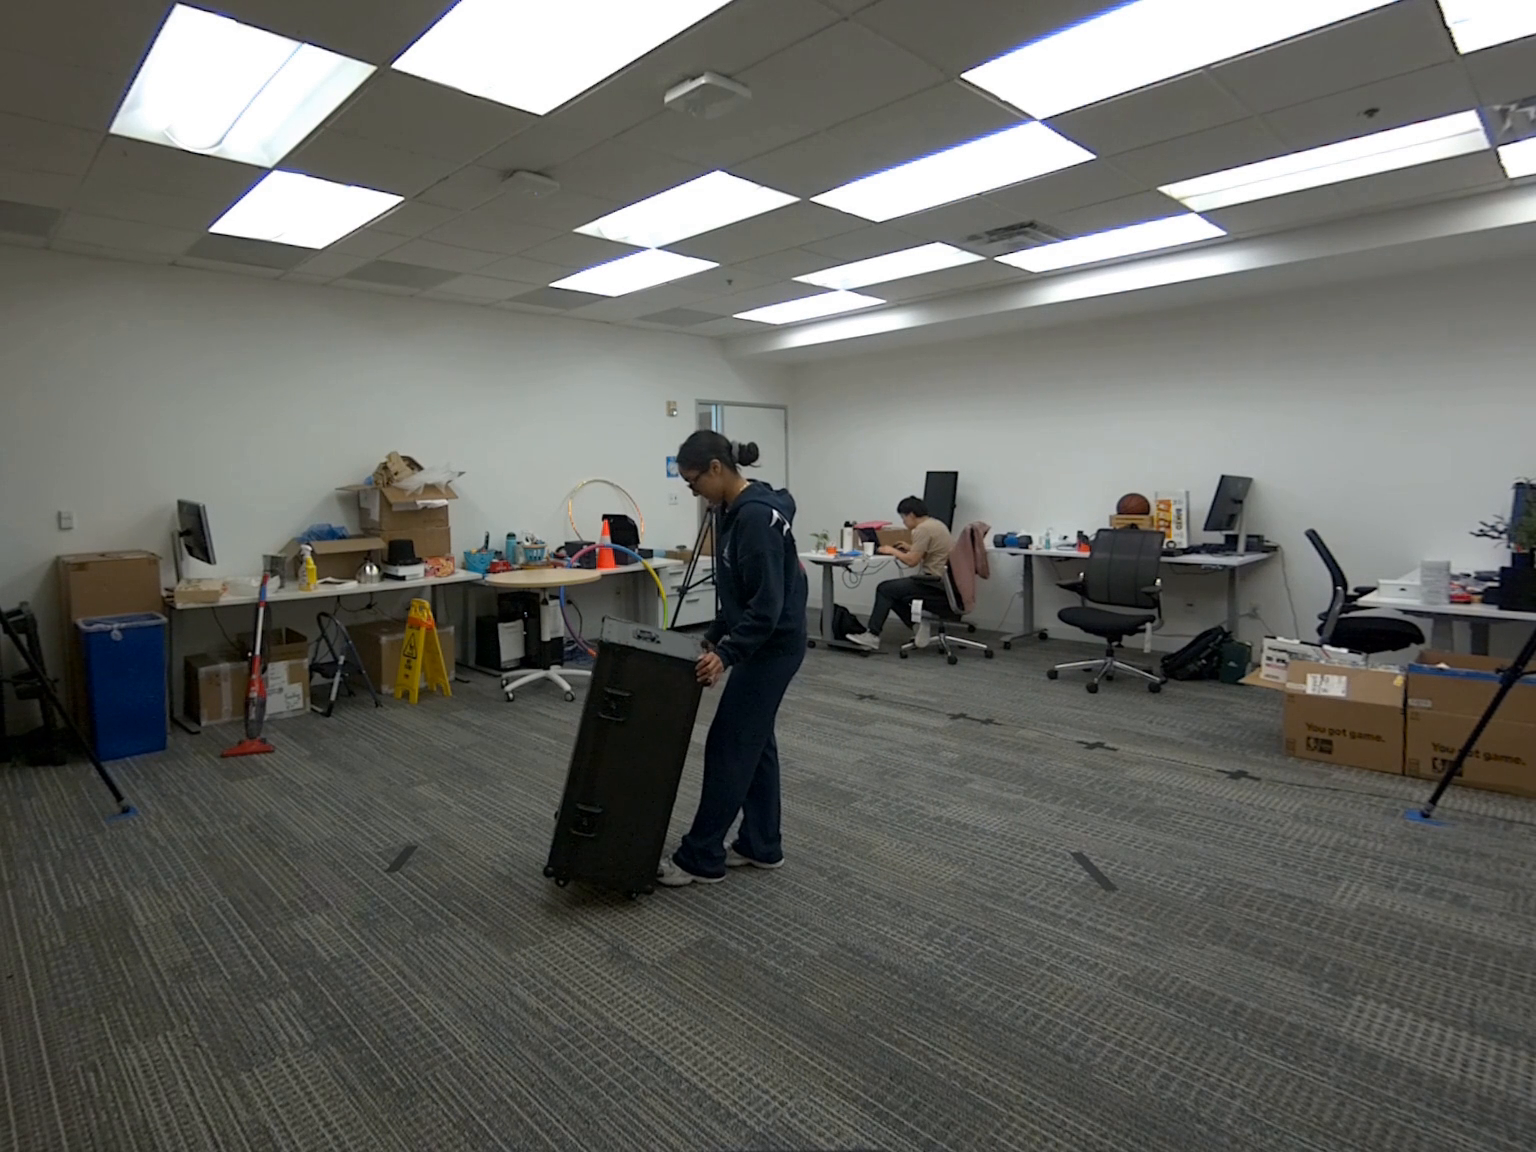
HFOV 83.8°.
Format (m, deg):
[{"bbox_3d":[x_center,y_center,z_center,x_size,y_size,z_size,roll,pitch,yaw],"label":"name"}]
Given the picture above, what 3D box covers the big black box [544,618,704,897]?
[{"bbox_3d":[-0.489,0.625,2.976,0.392,0.860,0.527,14,2,-9],"label":"big black box"}]
